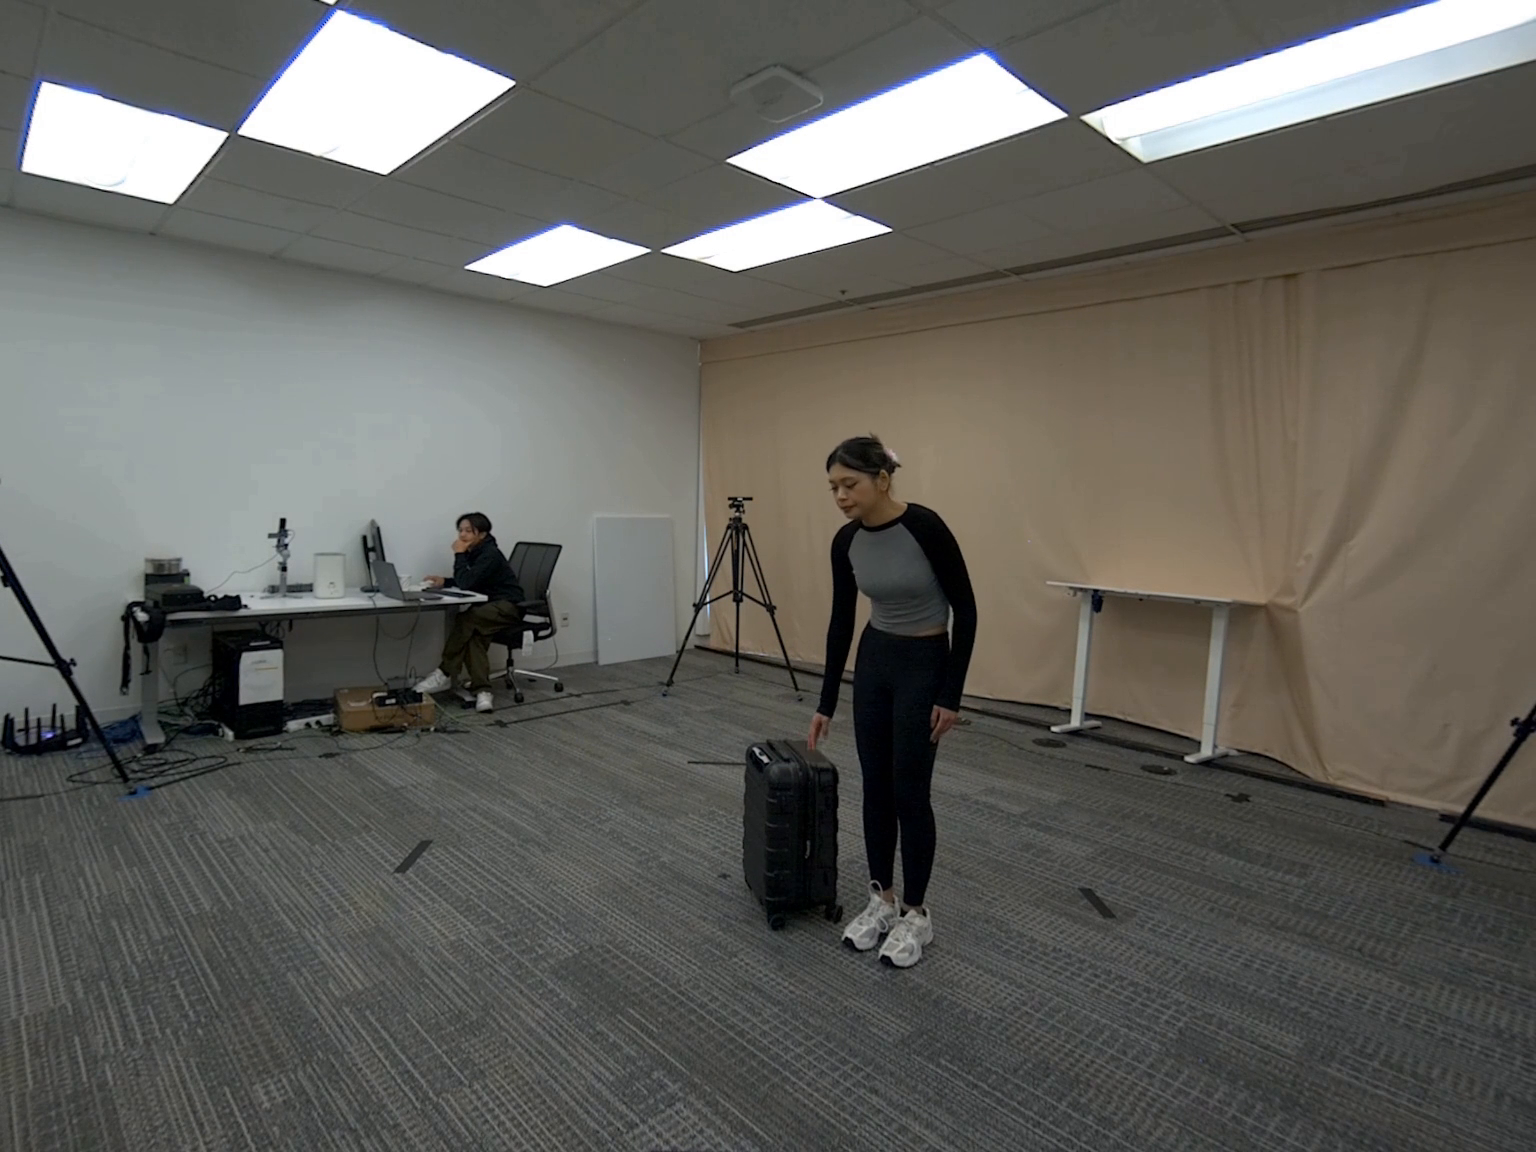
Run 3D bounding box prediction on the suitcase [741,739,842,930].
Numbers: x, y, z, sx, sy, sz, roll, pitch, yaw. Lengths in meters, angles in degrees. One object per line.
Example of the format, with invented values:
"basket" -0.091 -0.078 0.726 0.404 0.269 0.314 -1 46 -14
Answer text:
"suitcase" 0.070 0.853 2.886 0.245 0.548 0.381 0 4 -16
